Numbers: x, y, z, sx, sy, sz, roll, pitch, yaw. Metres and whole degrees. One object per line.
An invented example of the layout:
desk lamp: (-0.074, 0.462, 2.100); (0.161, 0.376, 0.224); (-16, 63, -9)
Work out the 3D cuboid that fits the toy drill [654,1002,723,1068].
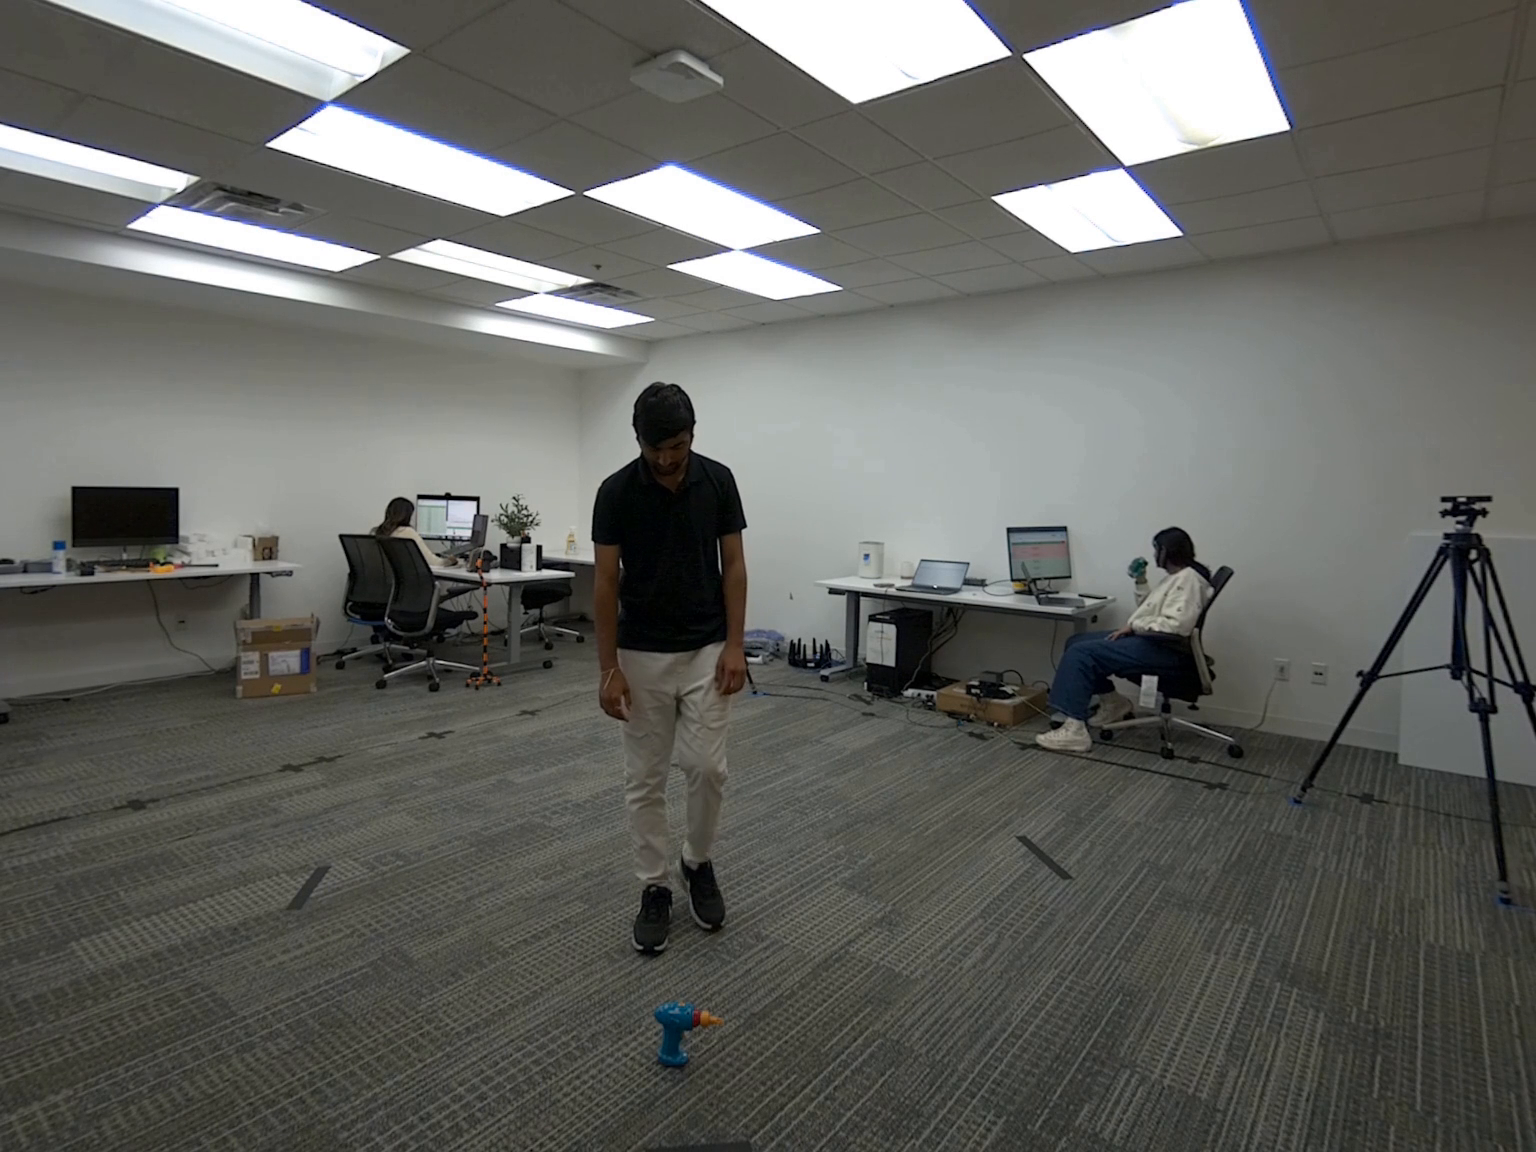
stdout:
toy drill: (-0.199, 1.102, 2.055); (0.170, 0.146, 0.061); (2, 1, 2)
